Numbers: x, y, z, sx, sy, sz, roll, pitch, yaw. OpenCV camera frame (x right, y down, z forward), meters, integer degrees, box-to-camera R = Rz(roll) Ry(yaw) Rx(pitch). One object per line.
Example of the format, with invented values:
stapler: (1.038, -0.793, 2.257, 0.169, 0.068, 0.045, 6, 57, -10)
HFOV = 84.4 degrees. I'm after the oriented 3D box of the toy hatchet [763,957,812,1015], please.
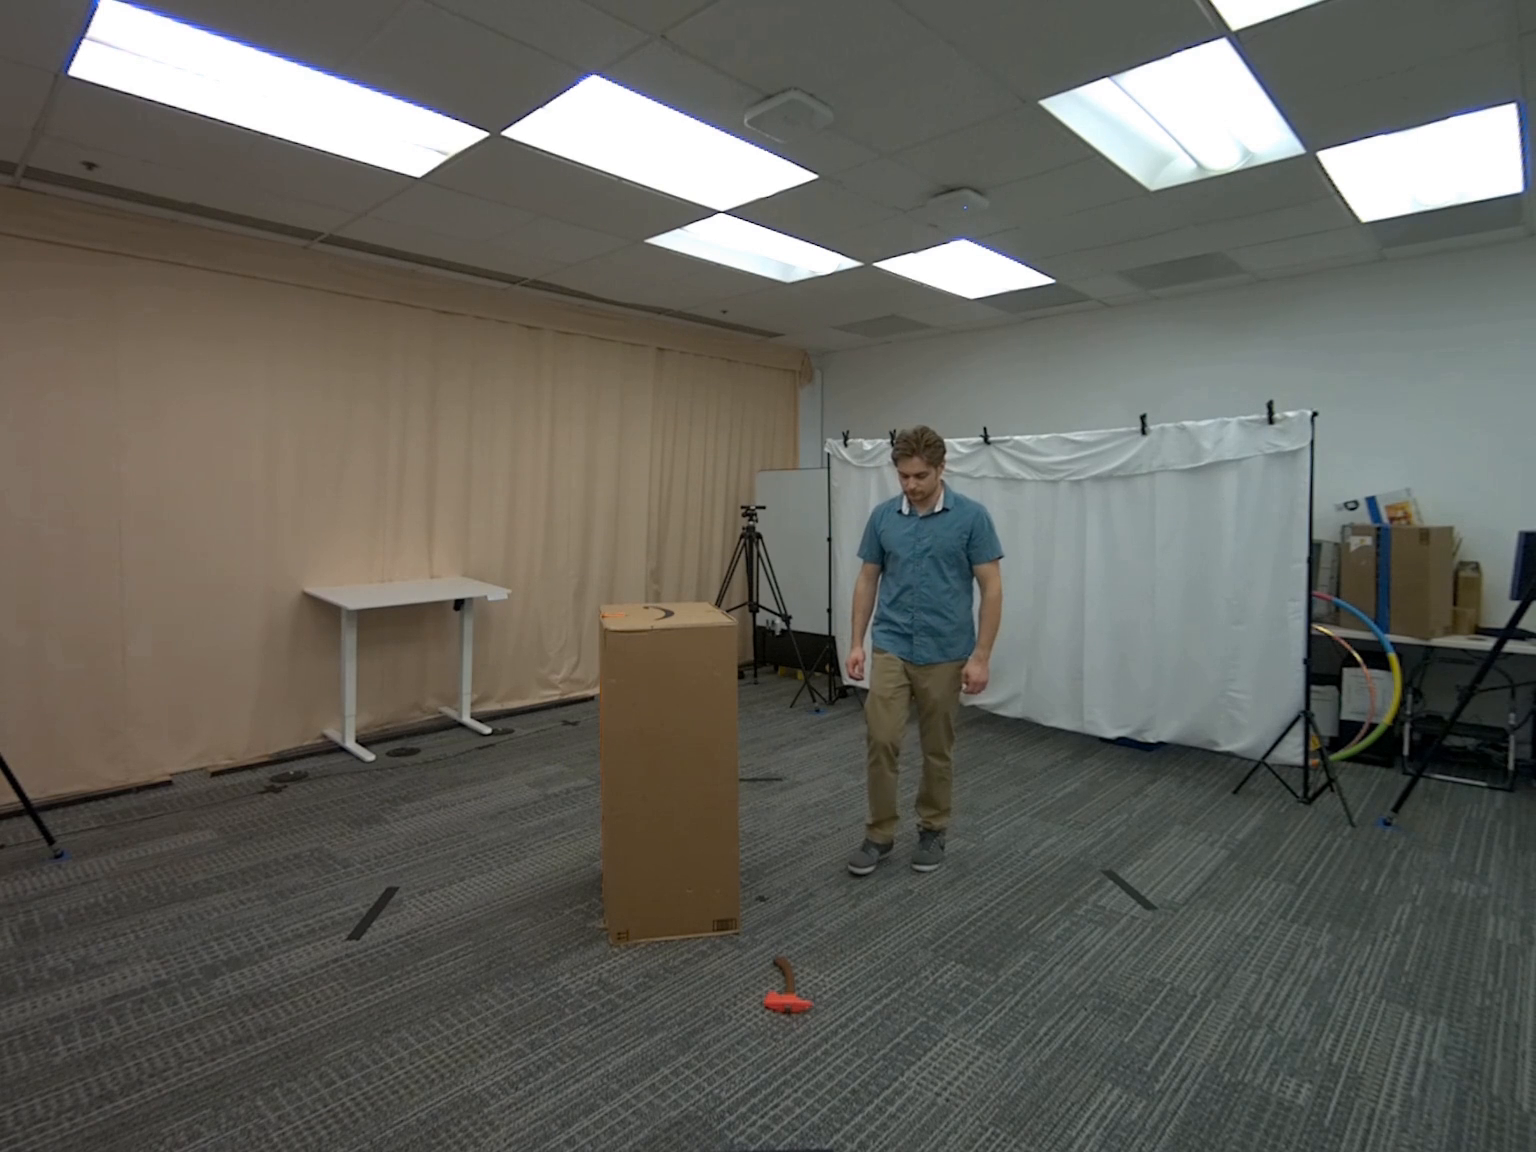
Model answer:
toy hatchet: (0.029, 1.178, 2.430, 0.129, 0.029, 0.274, -4, 3, -14)
